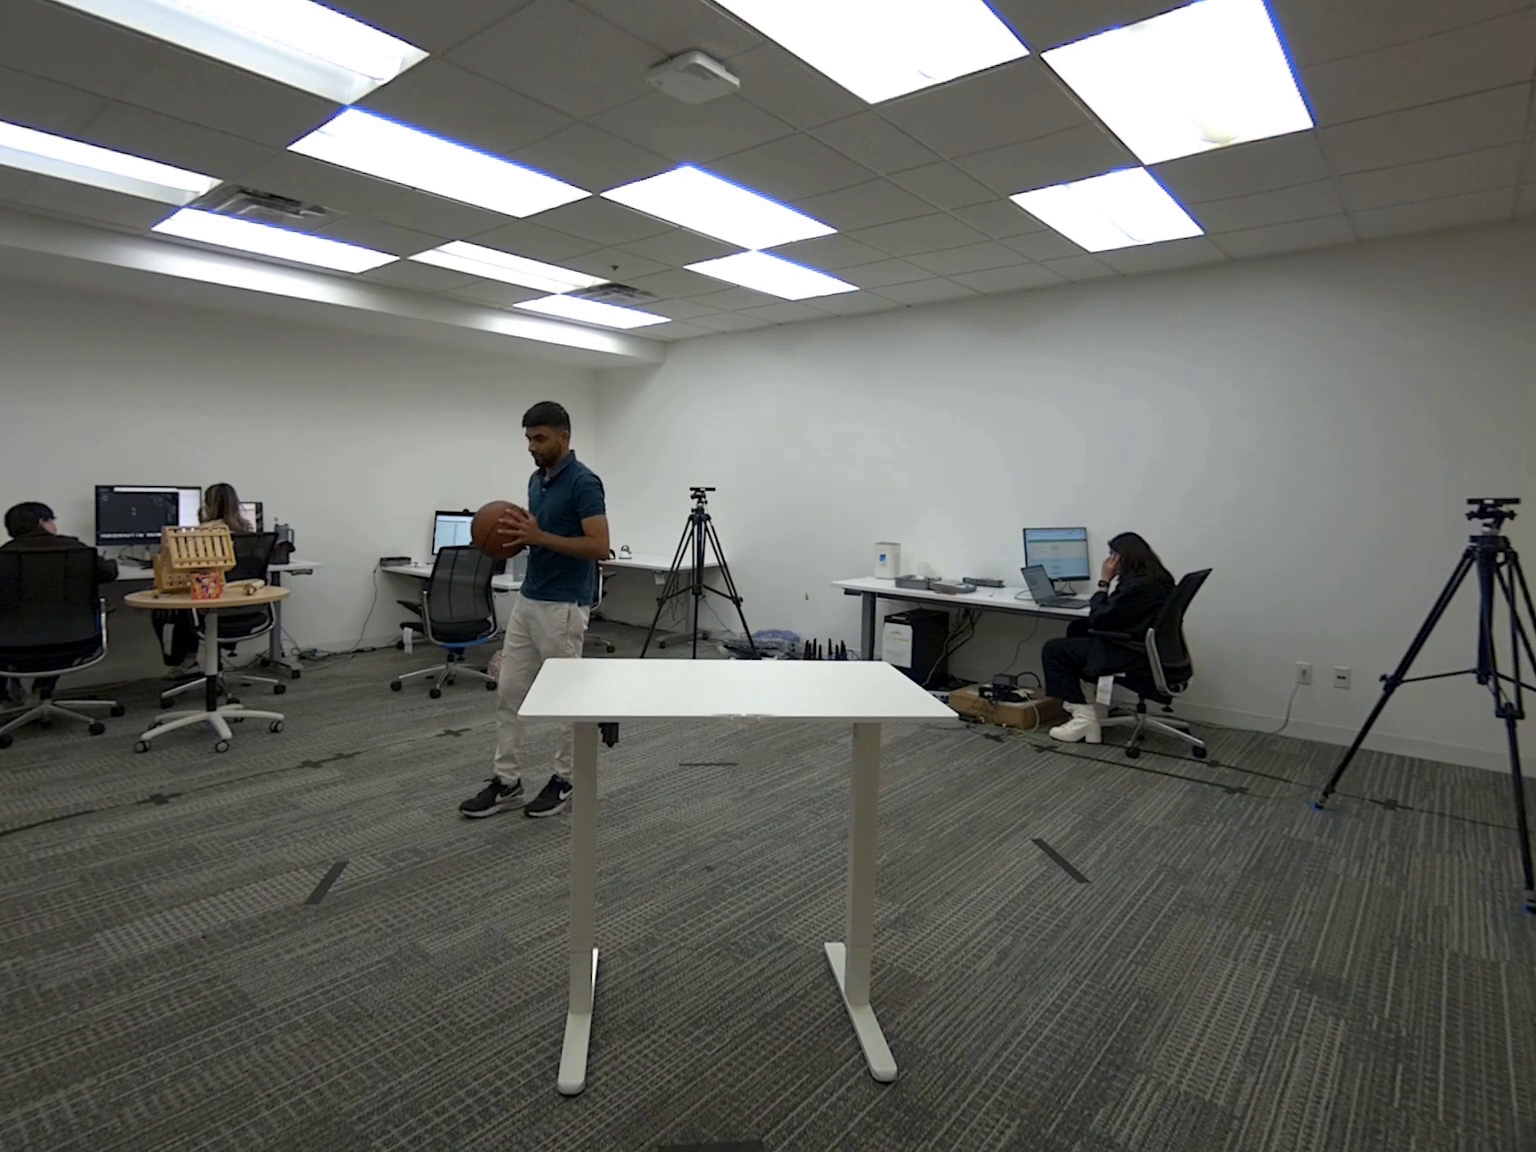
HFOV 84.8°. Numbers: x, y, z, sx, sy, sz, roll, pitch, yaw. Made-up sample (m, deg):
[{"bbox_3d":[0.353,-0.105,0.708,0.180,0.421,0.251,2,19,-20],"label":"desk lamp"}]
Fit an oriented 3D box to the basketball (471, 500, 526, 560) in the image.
[{"bbox_3d":[-1.106,-0.193,3.458,0.235,0.235,0.237,1,4,-2],"label":"basketball"}]
